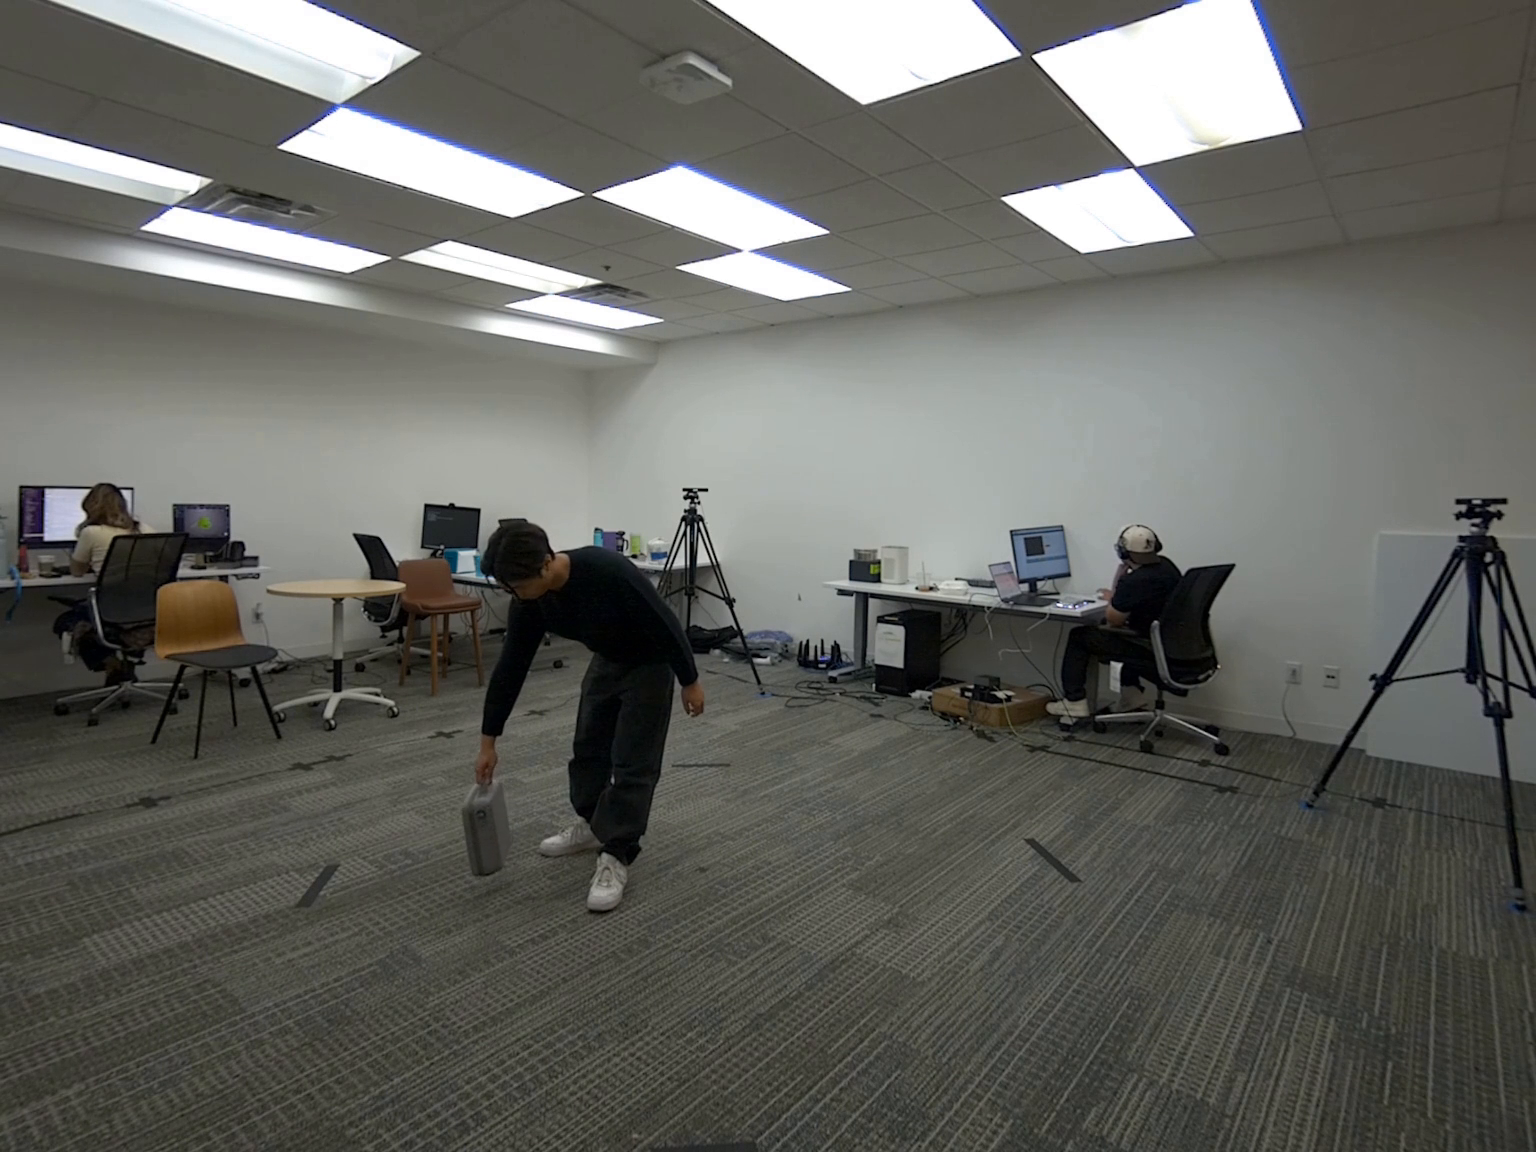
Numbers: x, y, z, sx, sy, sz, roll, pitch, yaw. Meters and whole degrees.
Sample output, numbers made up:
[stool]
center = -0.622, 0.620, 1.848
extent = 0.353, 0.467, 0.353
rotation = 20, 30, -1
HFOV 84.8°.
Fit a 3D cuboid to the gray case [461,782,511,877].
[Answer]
[gray case]
center = -0.969, 0.841, 2.895
extent = 0.103, 0.259, 0.260
rotation = -7, 5, -9
